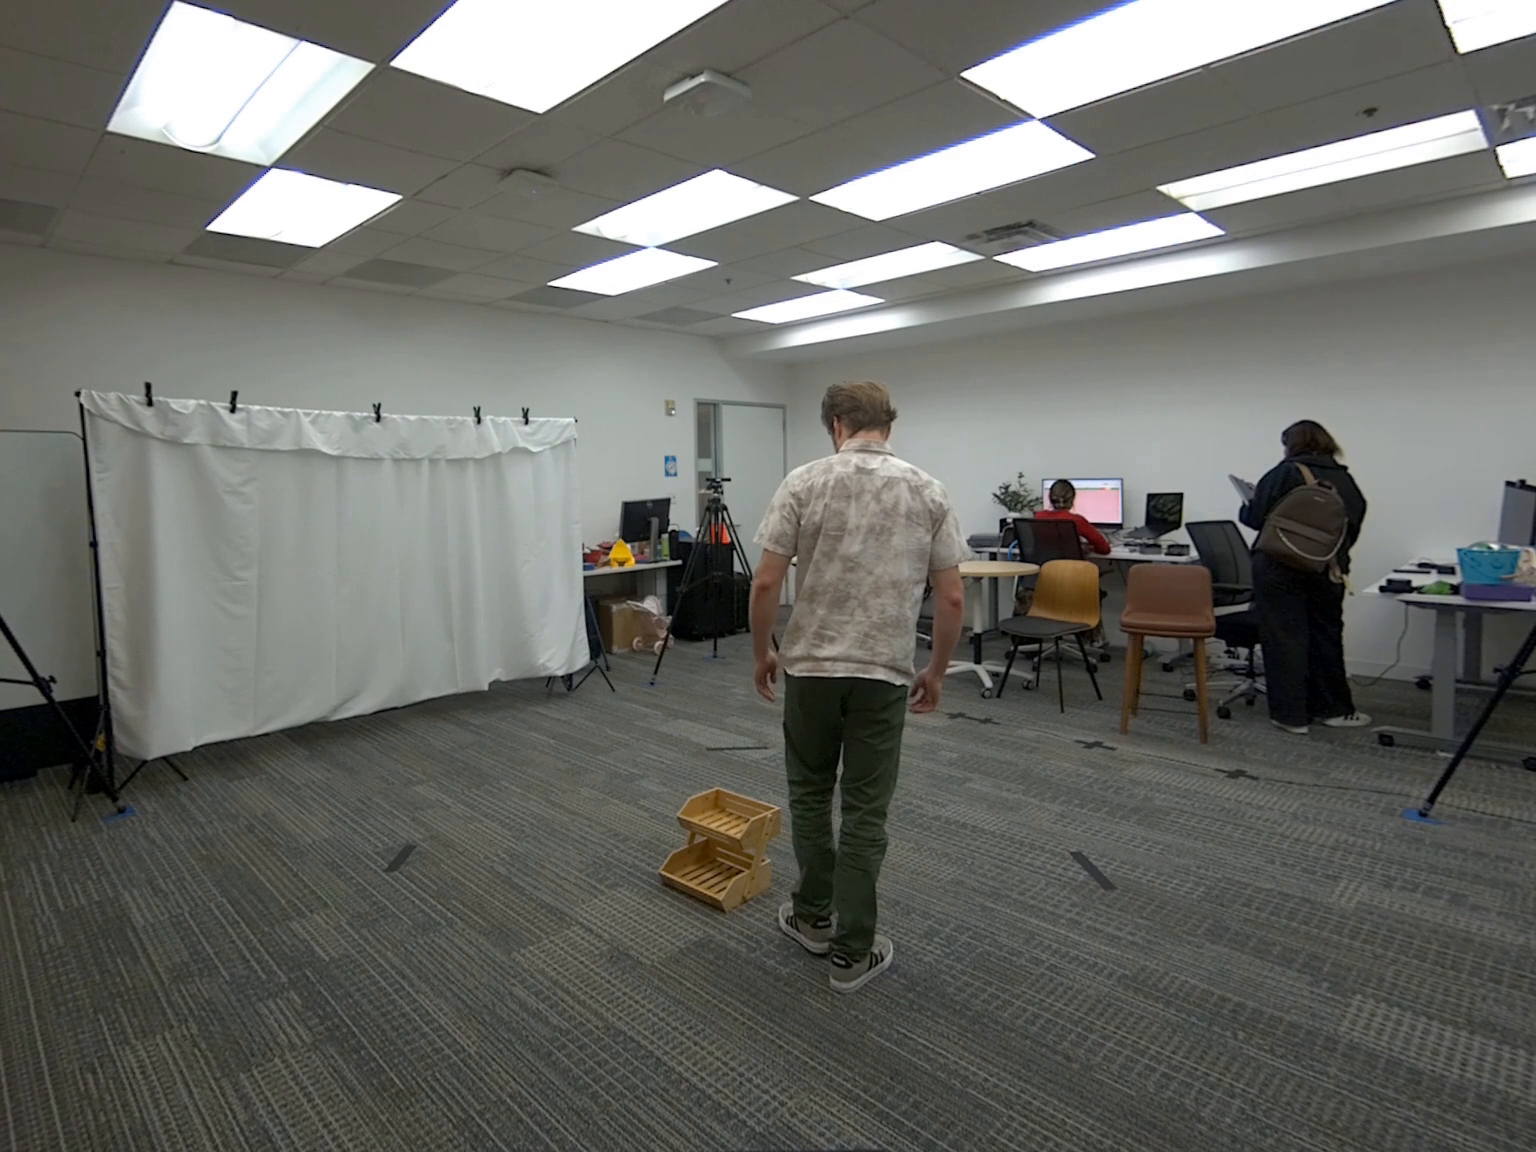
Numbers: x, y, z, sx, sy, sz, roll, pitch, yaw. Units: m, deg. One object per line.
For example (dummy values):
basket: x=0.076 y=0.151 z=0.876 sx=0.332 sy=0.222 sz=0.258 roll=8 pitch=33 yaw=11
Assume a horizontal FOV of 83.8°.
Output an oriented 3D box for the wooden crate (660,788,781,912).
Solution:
wooden crate: x=-0.166 y=0.929 z=2.944 sx=0.334 sy=0.272 sz=0.294 roll=4 pitch=6 yaw=42
